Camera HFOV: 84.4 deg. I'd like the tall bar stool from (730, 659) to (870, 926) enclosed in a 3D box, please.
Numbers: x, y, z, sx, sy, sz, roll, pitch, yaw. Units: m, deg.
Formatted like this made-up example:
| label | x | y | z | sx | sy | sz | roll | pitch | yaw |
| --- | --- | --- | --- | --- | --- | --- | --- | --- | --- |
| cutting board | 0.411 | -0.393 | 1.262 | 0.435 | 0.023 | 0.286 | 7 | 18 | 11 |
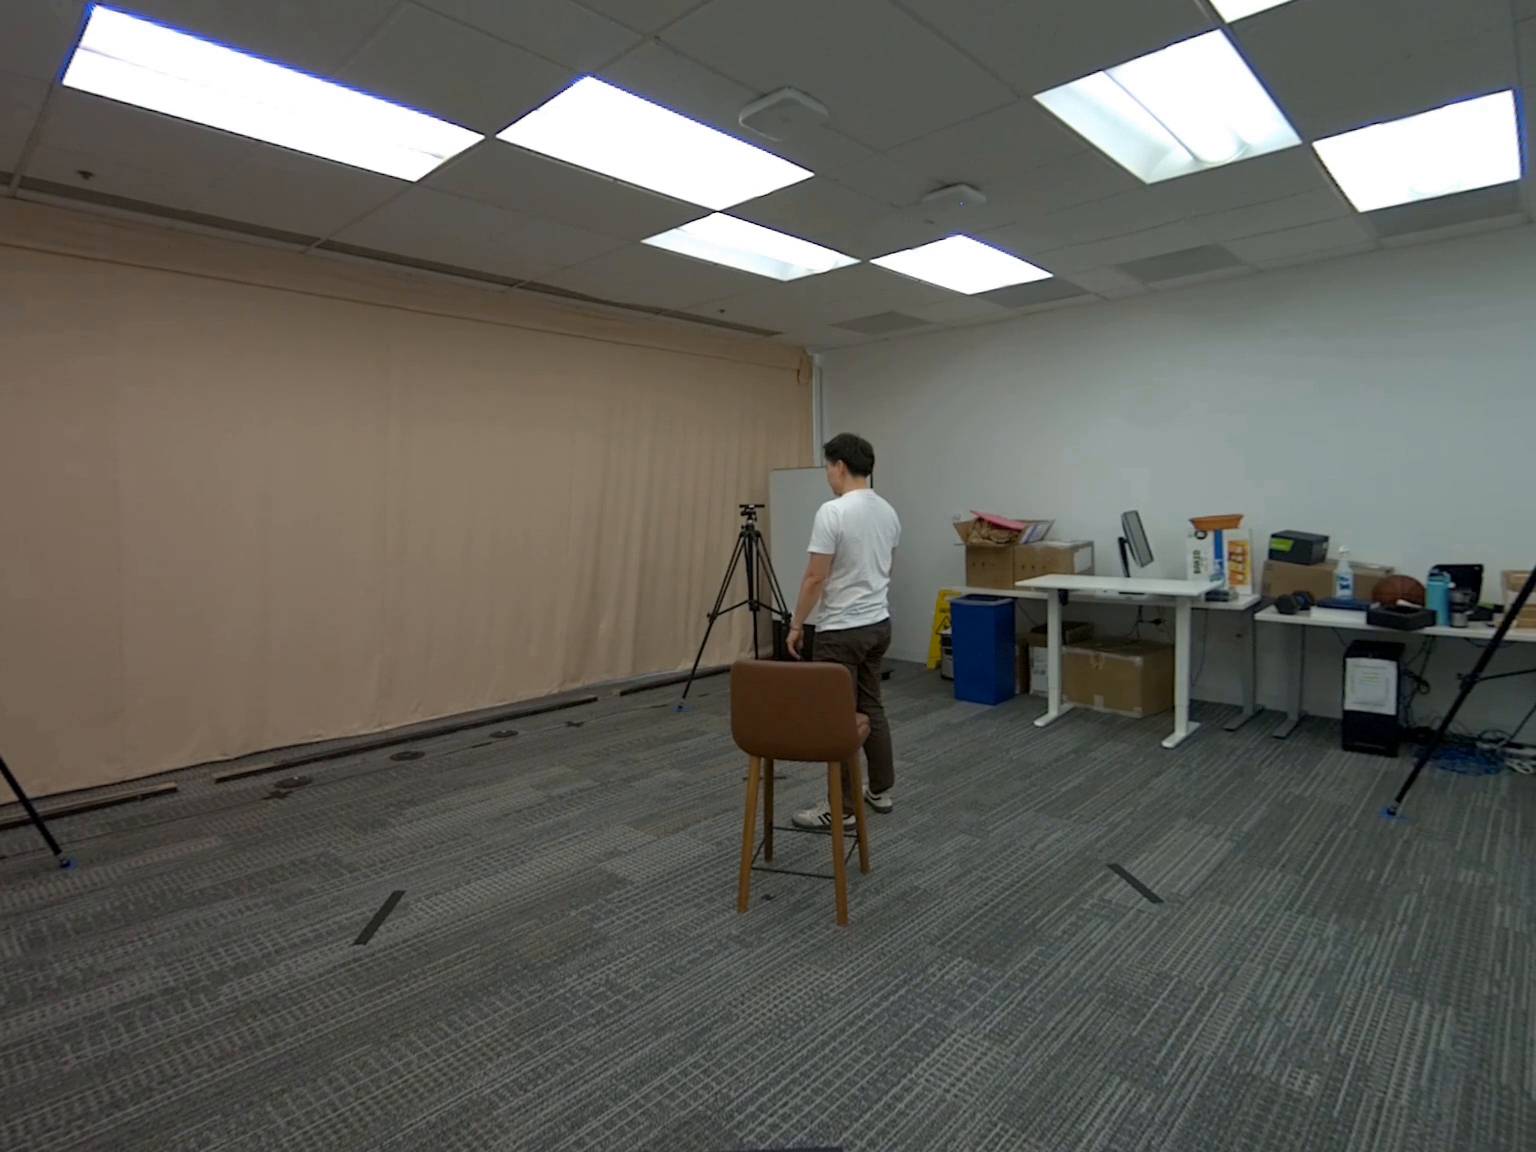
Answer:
| label | x | y | z | sx | sy | sz | roll | pitch | yaw |
| --- | --- | --- | --- | --- | --- | --- | --- | --- | --- |
| tall bar stool | 0.126 | 0.700 | 3.013 | 0.465 | 0.887 | 0.460 | 0 | 5 | 18 |
